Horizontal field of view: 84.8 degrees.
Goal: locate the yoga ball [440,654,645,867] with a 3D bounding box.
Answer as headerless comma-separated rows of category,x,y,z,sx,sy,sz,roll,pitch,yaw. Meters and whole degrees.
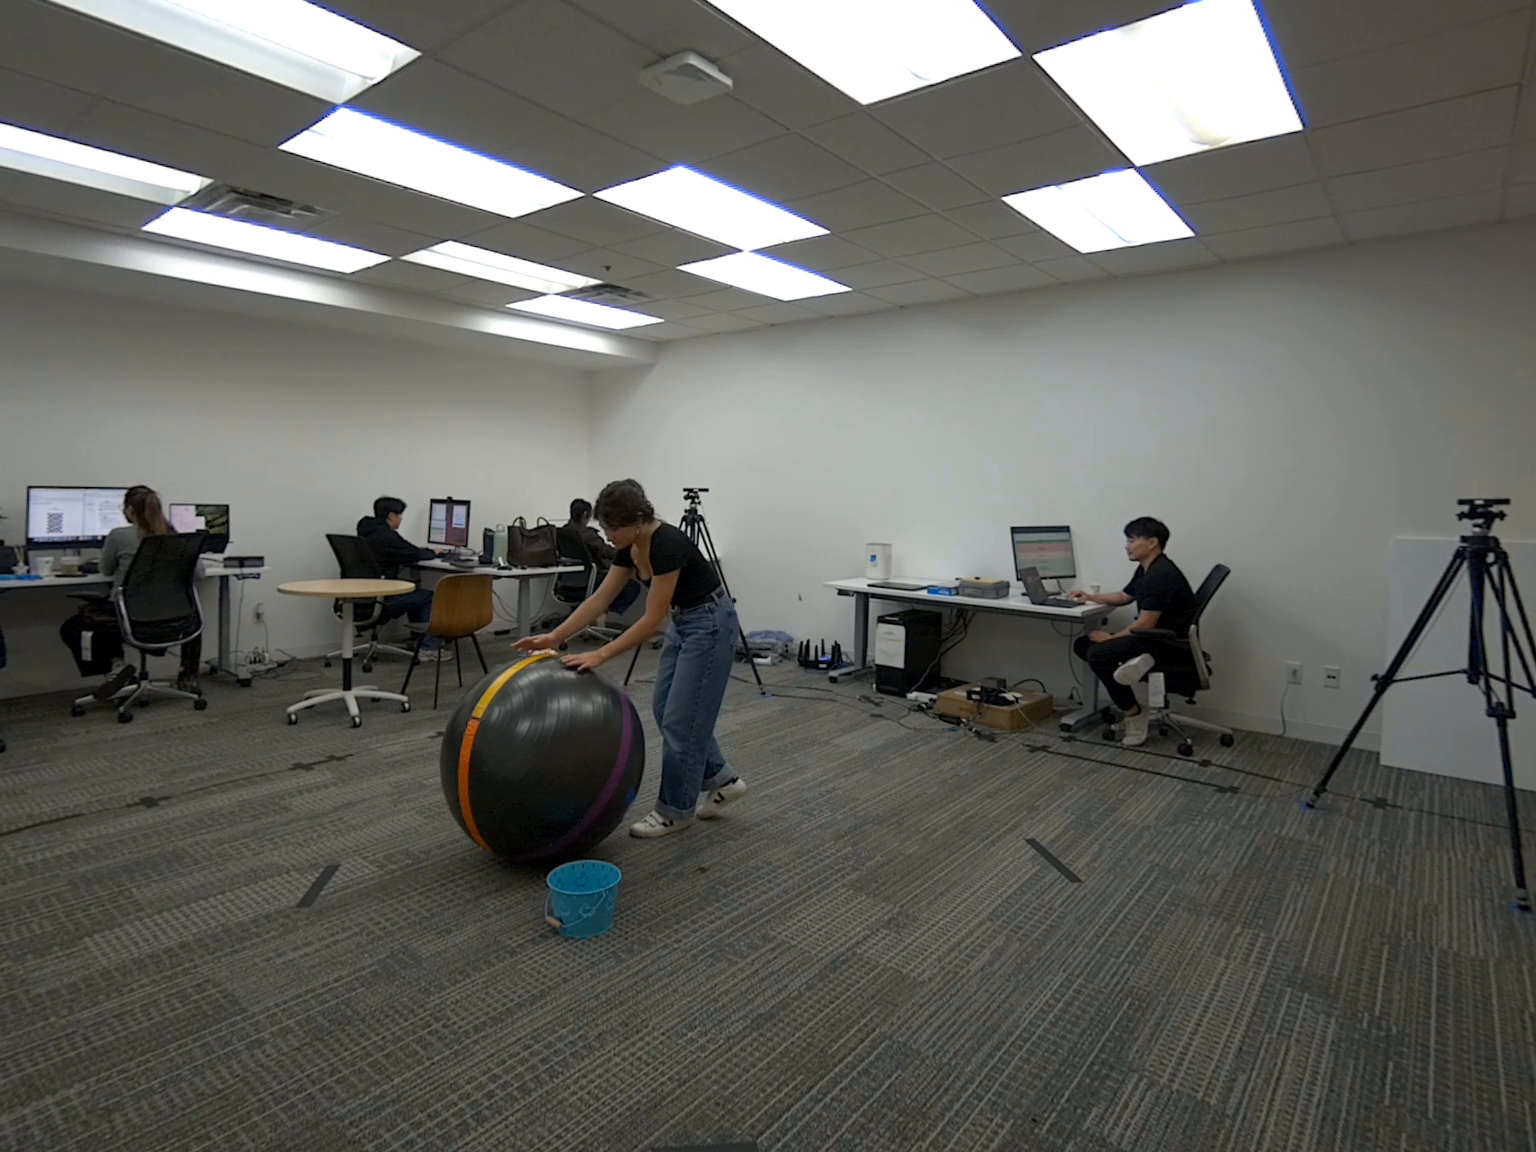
yoga ball,-0.855,0.676,3.197,0.757,0.756,0.762,1,4,-2
